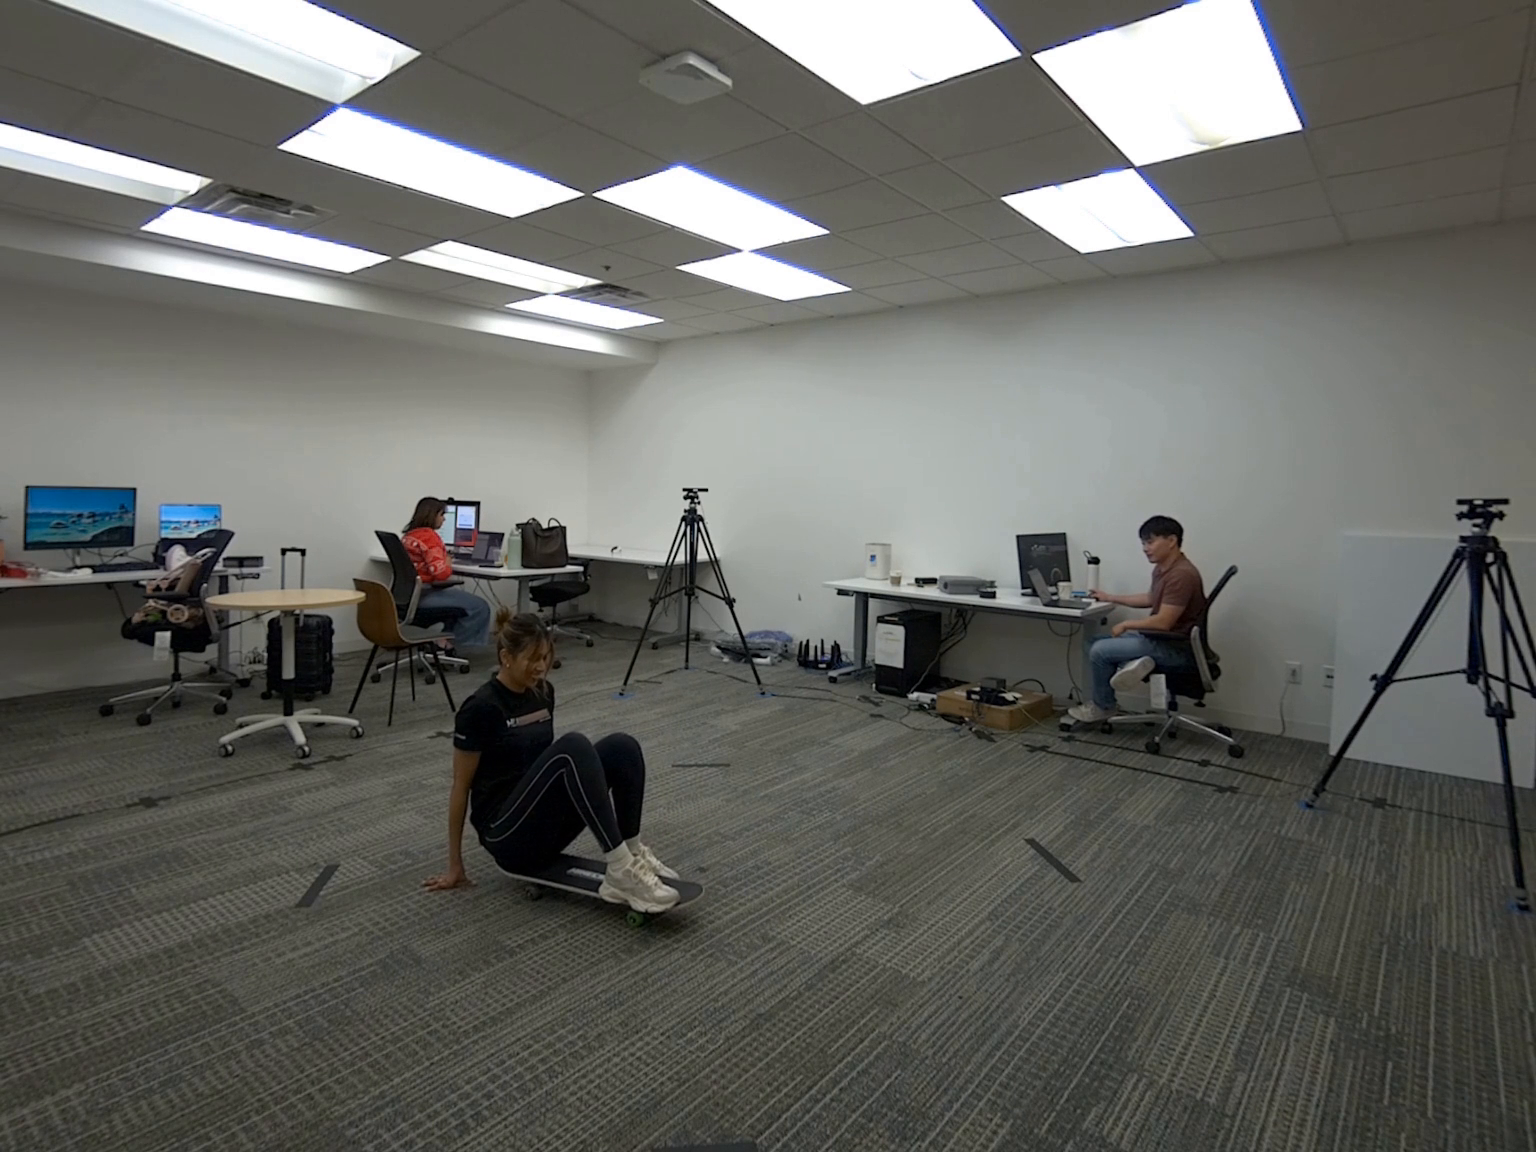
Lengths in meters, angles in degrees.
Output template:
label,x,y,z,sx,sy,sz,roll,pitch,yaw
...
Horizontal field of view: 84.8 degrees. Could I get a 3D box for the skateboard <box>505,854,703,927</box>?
label,x,y,z,sx,sy,sz,roll,pitch,yaw
skateboard,-0.593,1.040,2.841,0.804,0.109,0.190,3,10,22
